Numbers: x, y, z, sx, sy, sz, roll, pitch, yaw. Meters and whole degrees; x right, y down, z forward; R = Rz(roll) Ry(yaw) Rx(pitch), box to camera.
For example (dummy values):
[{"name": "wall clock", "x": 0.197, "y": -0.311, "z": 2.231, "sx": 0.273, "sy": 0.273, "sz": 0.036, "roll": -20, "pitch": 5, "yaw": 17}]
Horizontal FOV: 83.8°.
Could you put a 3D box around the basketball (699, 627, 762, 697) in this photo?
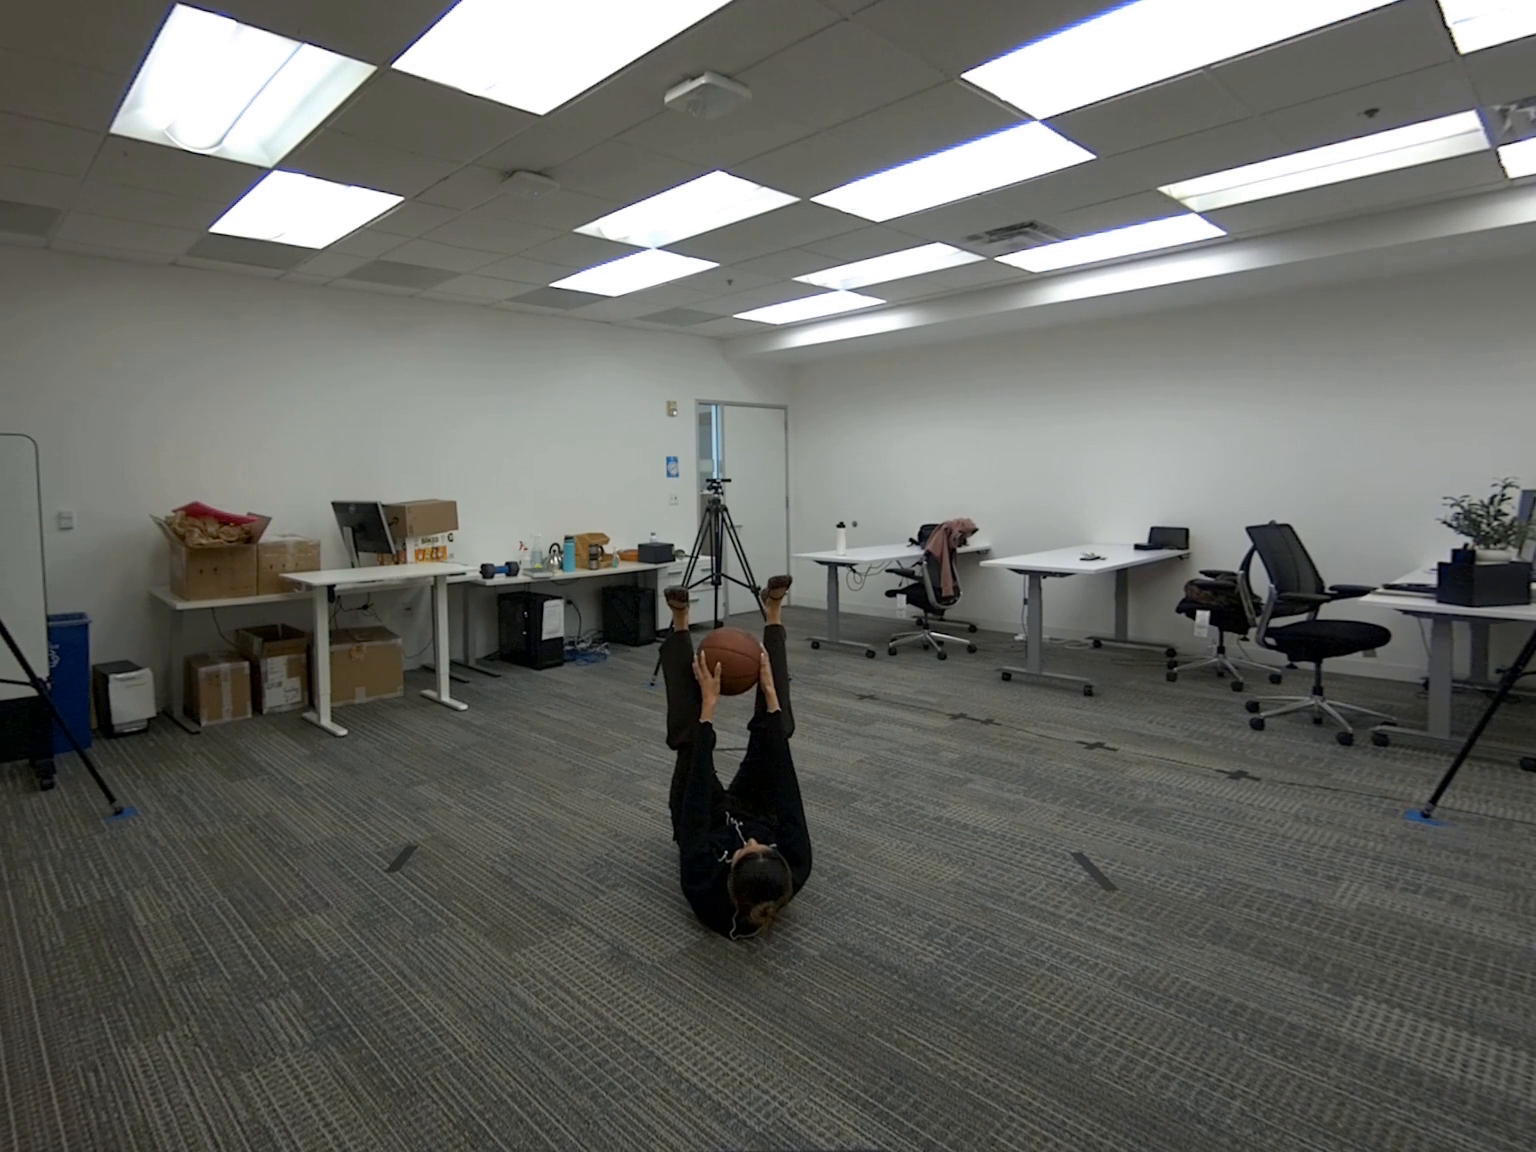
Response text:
[{"name": "basketball", "x": -0.132, "y": 0.294, "z": 2.938, "sx": 0.236, "sy": 0.235, "sz": 0.237, "roll": -1, "pitch": 5, "yaw": -2}]
